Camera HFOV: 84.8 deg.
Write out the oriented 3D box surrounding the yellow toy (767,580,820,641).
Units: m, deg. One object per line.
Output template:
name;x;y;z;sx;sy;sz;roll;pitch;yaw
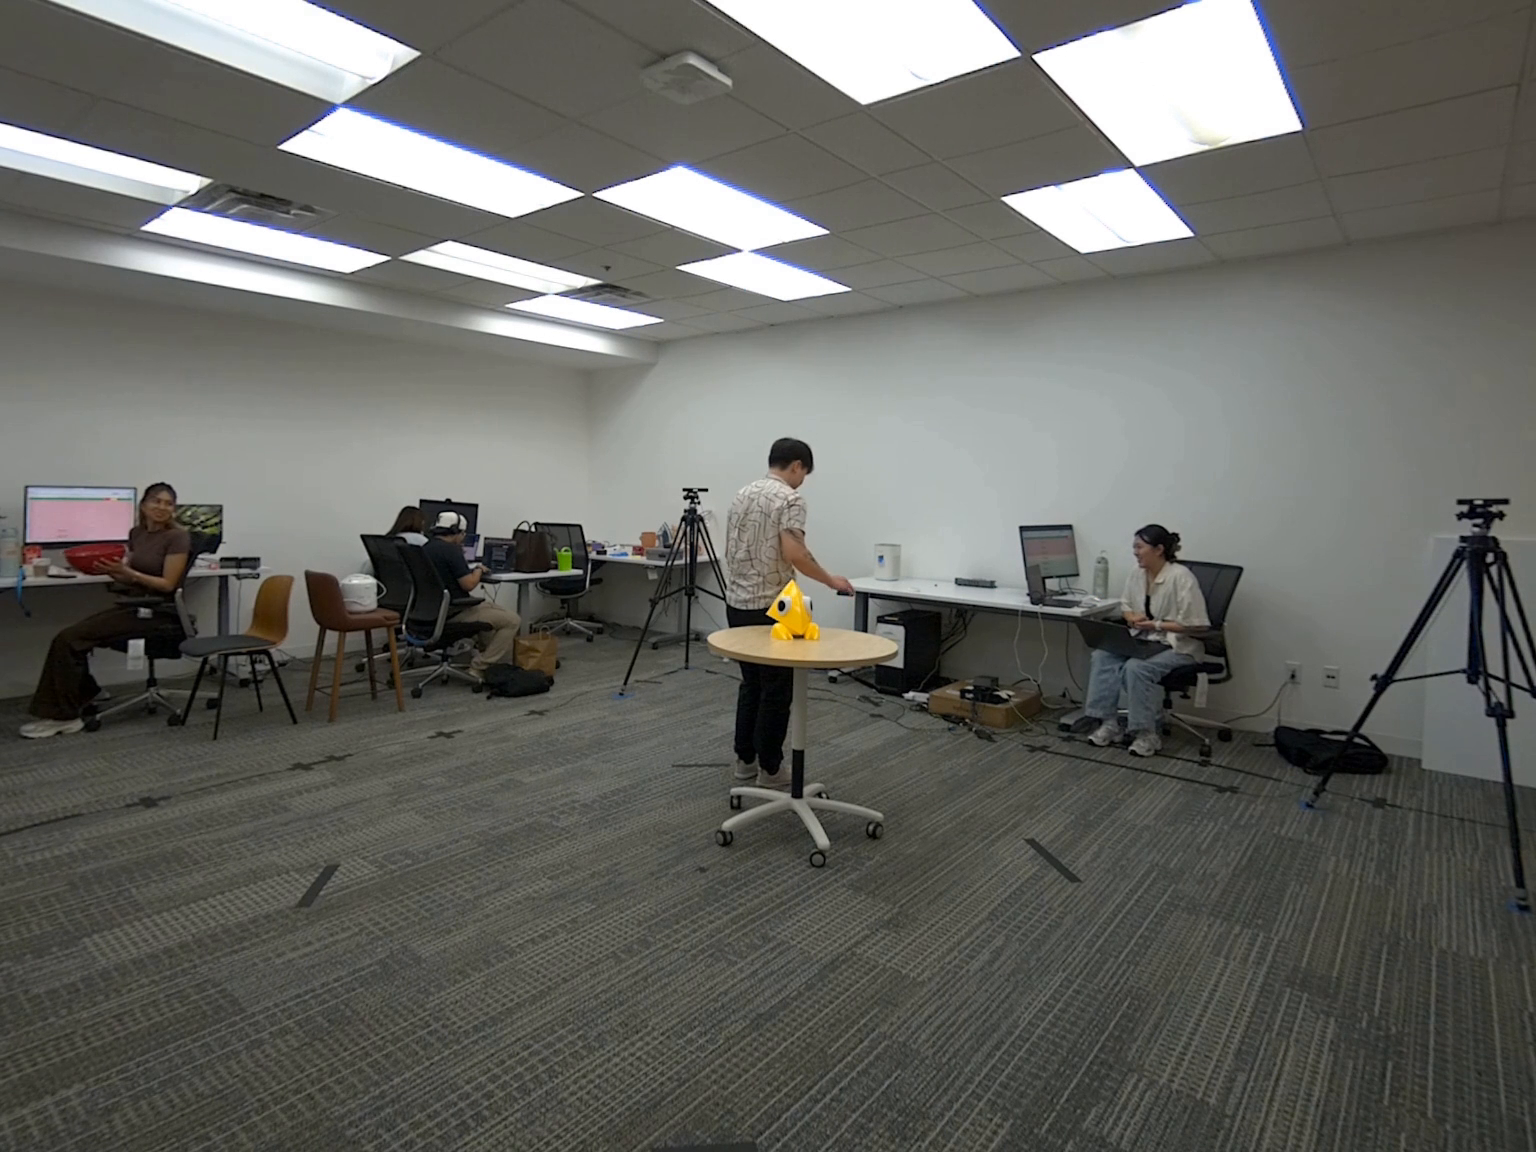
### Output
yellow toy;0.110;0.134;3.559;0.202;0.230;0.196;0;5;-14
